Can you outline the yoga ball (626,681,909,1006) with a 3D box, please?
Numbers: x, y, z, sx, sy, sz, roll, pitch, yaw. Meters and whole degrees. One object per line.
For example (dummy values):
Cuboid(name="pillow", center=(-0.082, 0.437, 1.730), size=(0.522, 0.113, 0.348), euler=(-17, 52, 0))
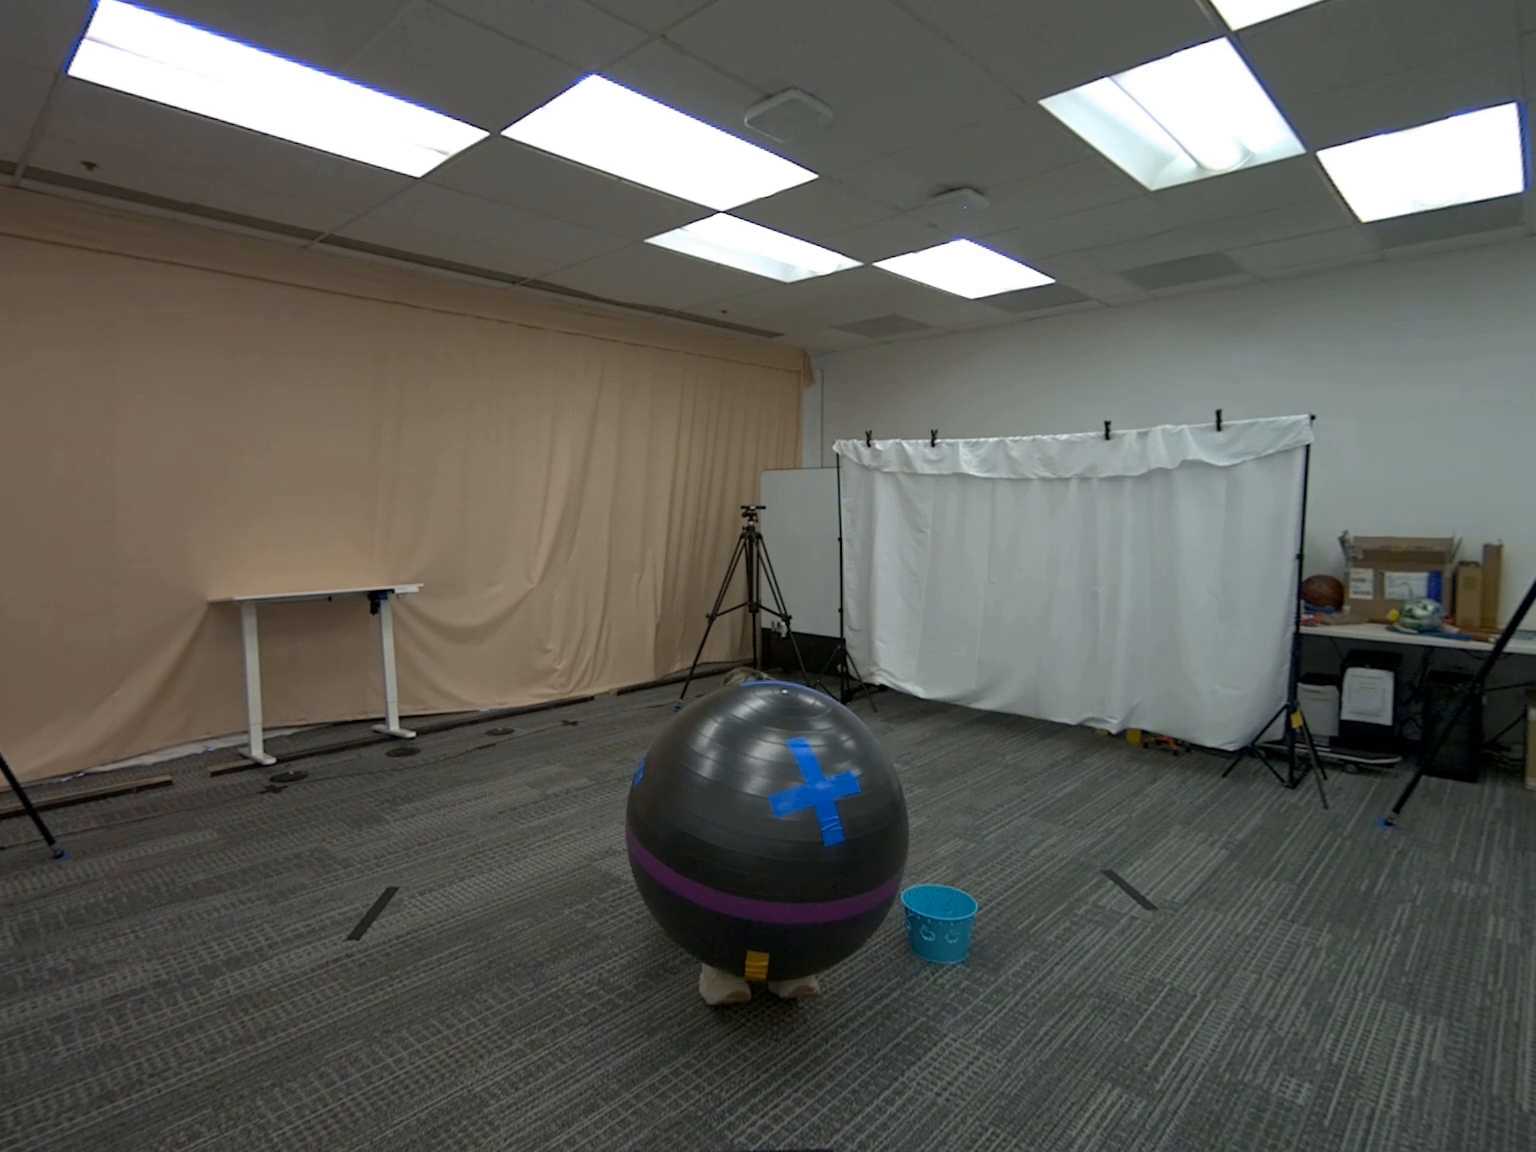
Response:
Cuboid(name="yoga ball", center=(0.015, 0.666, 2.261), size=(0.757, 0.756, 0.761), euler=(0, 4, -2))
